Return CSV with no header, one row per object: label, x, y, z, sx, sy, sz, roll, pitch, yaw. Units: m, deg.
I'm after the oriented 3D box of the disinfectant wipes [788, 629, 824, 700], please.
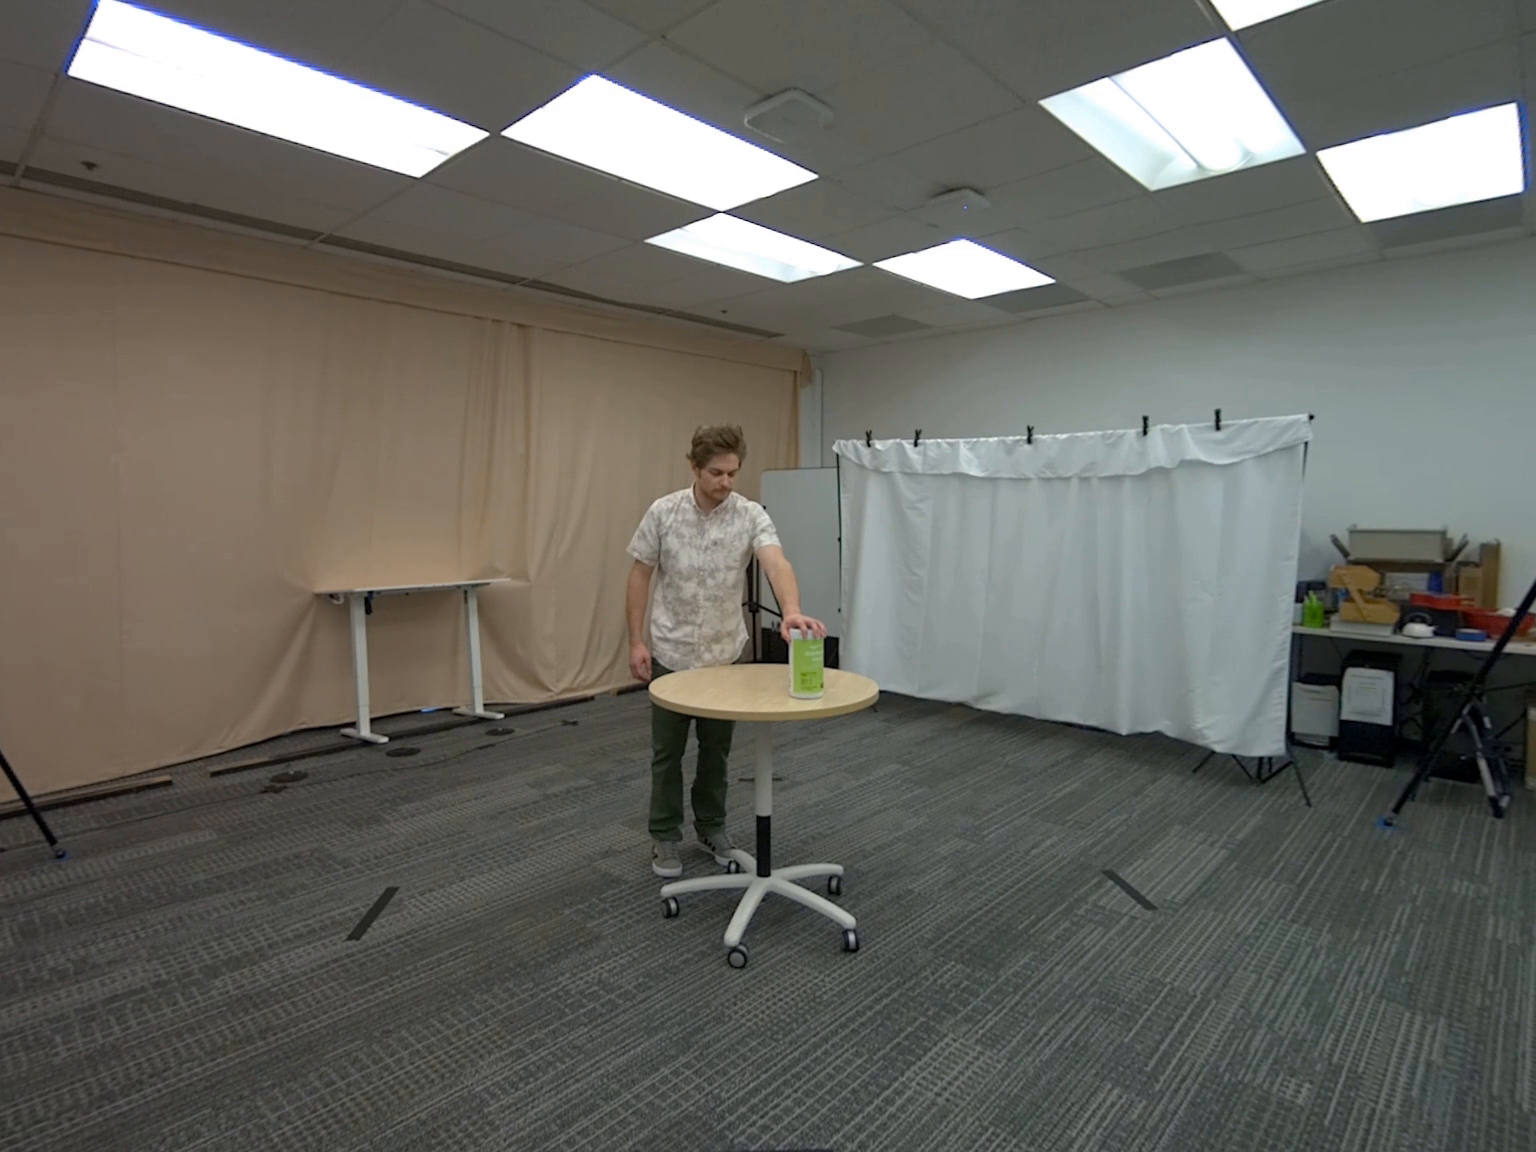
disinfectant wipes,0.124,0.272,2.648,0.118,0.217,0.118,0,3,-2
